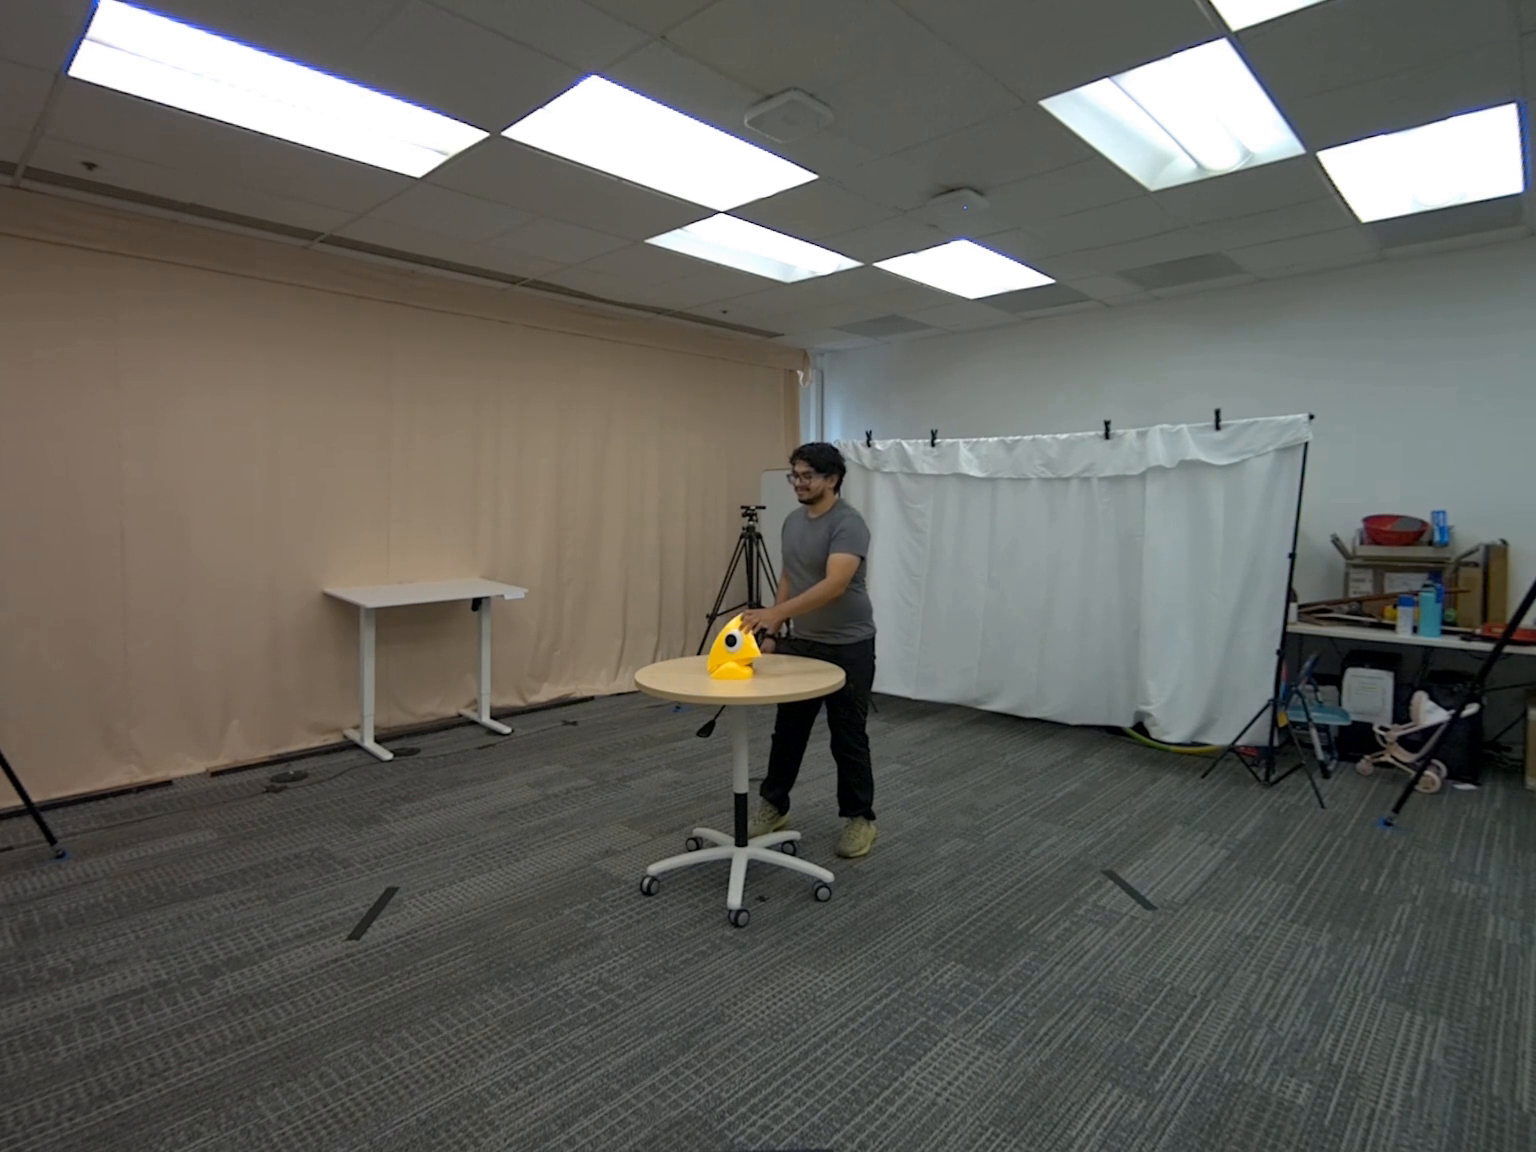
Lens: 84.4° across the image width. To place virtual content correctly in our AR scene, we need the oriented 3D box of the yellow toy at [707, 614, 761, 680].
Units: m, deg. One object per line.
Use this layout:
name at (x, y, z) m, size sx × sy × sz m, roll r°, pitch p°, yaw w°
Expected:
yellow toy at (-0.128, 0.241, 3.054) m, size 0.192 × 0.230 × 0.207 m, roll -1°, pitch 4°, yaw -7°
